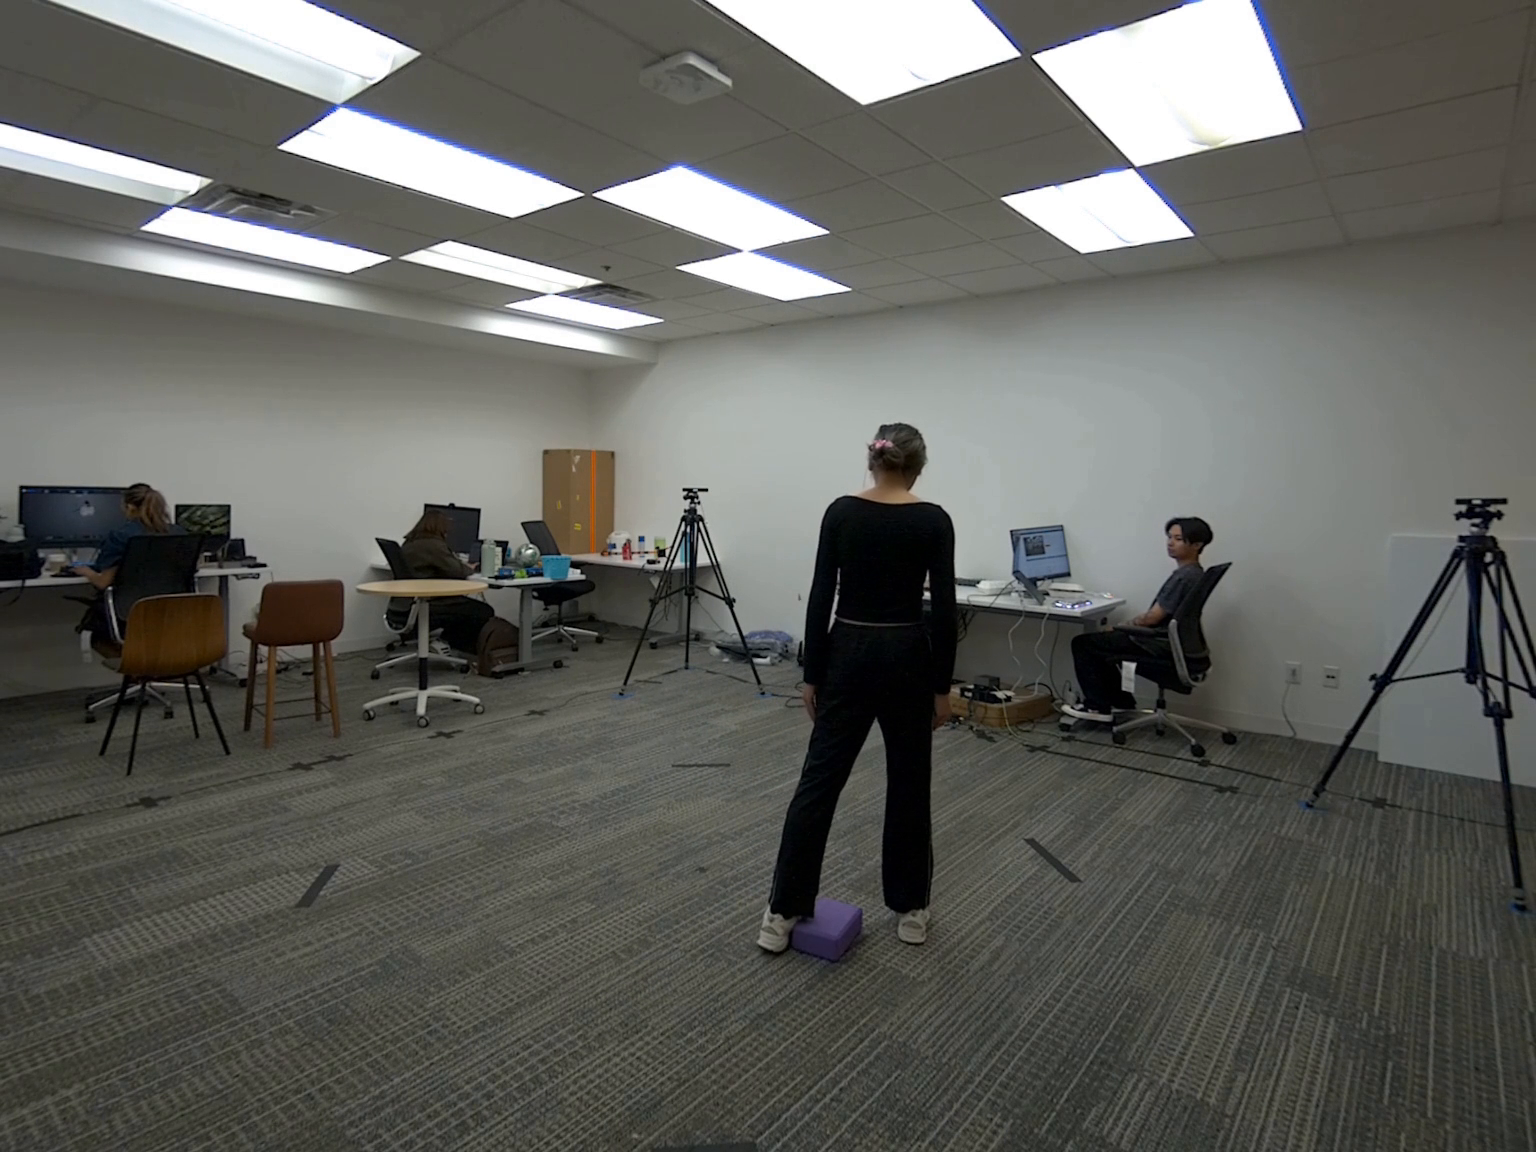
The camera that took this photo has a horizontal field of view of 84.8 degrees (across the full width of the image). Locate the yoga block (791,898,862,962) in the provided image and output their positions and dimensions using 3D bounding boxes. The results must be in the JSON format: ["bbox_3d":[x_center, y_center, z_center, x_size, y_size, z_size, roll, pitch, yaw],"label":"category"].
[{"bbox_3d":[0.183,1.088,2.631,0.153,0.076,0.224,3,5,26],"label":"yoga block"}]
